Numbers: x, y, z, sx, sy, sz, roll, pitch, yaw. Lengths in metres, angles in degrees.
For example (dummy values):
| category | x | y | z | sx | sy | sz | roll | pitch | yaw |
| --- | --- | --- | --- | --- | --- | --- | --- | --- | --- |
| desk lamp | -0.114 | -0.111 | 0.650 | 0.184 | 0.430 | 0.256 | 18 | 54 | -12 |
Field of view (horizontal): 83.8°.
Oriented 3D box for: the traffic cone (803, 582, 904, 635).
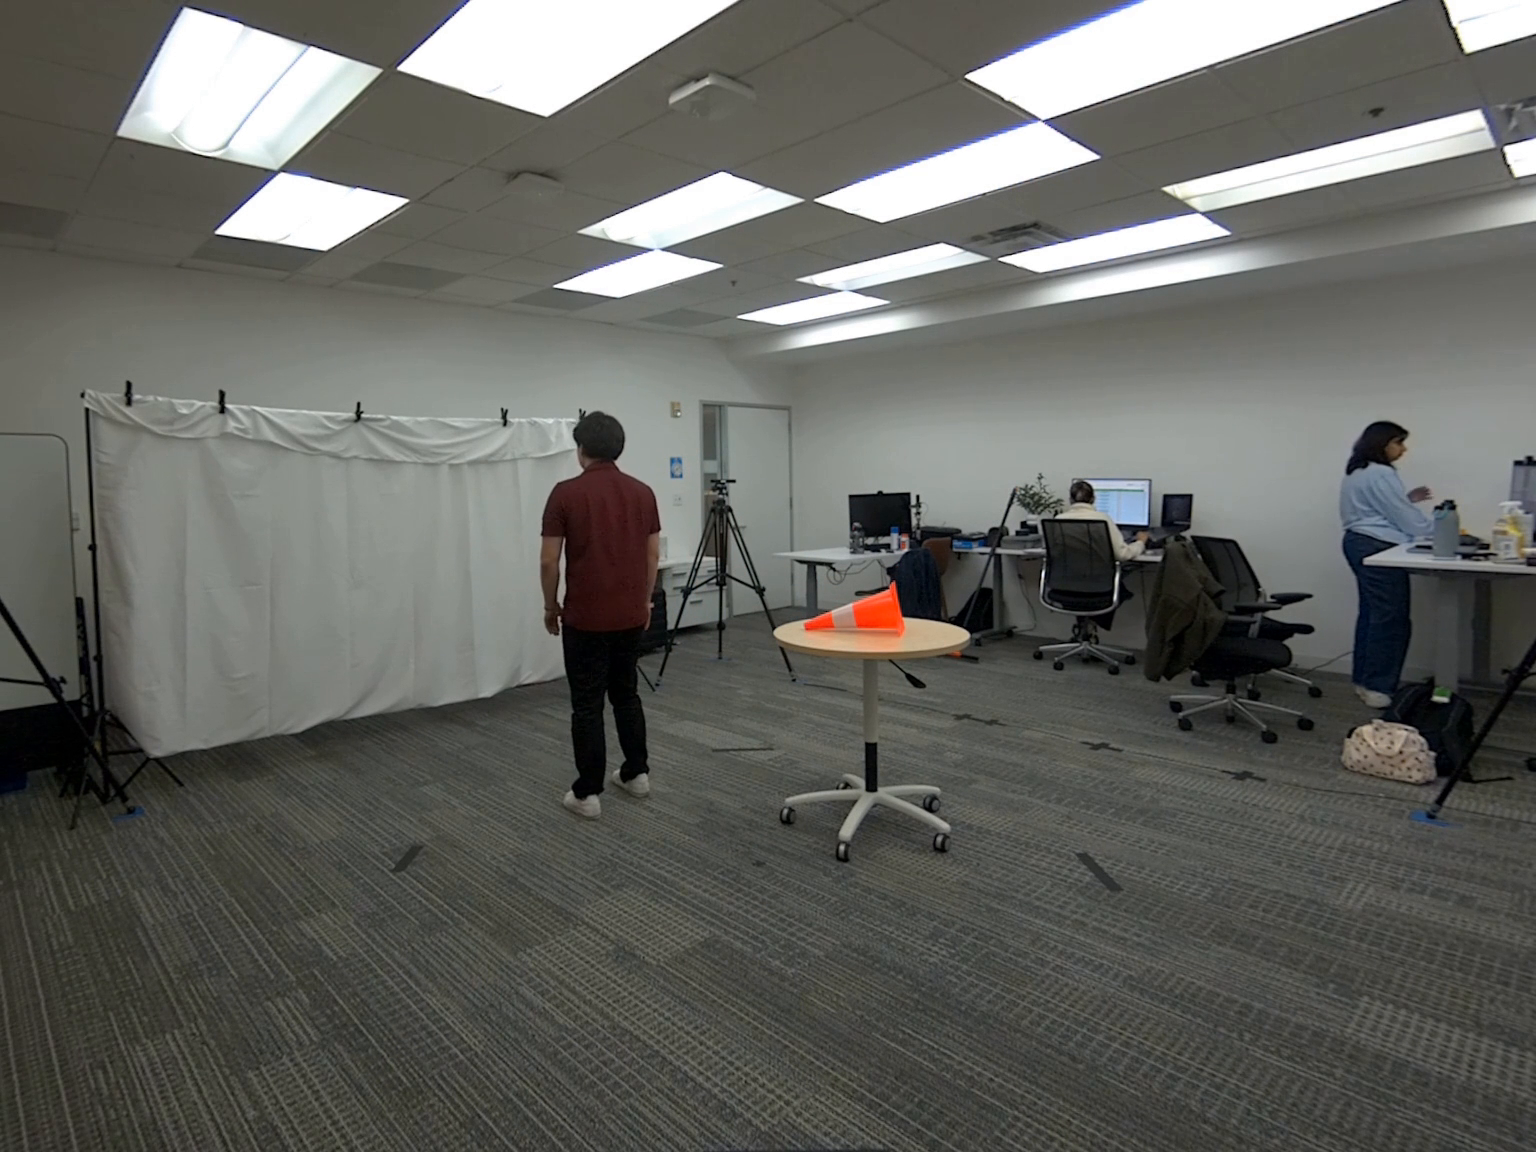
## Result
| category | x | y | z | sx | sy | sz | roll | pitch | yaw |
| --- | --- | --- | --- | --- | --- | --- | --- | --- | --- |
| traffic cone | 0.331 | 0.157 | 3.425 | 0.387 | 0.206 | 0.200 | -10 | -4 | 13 |
